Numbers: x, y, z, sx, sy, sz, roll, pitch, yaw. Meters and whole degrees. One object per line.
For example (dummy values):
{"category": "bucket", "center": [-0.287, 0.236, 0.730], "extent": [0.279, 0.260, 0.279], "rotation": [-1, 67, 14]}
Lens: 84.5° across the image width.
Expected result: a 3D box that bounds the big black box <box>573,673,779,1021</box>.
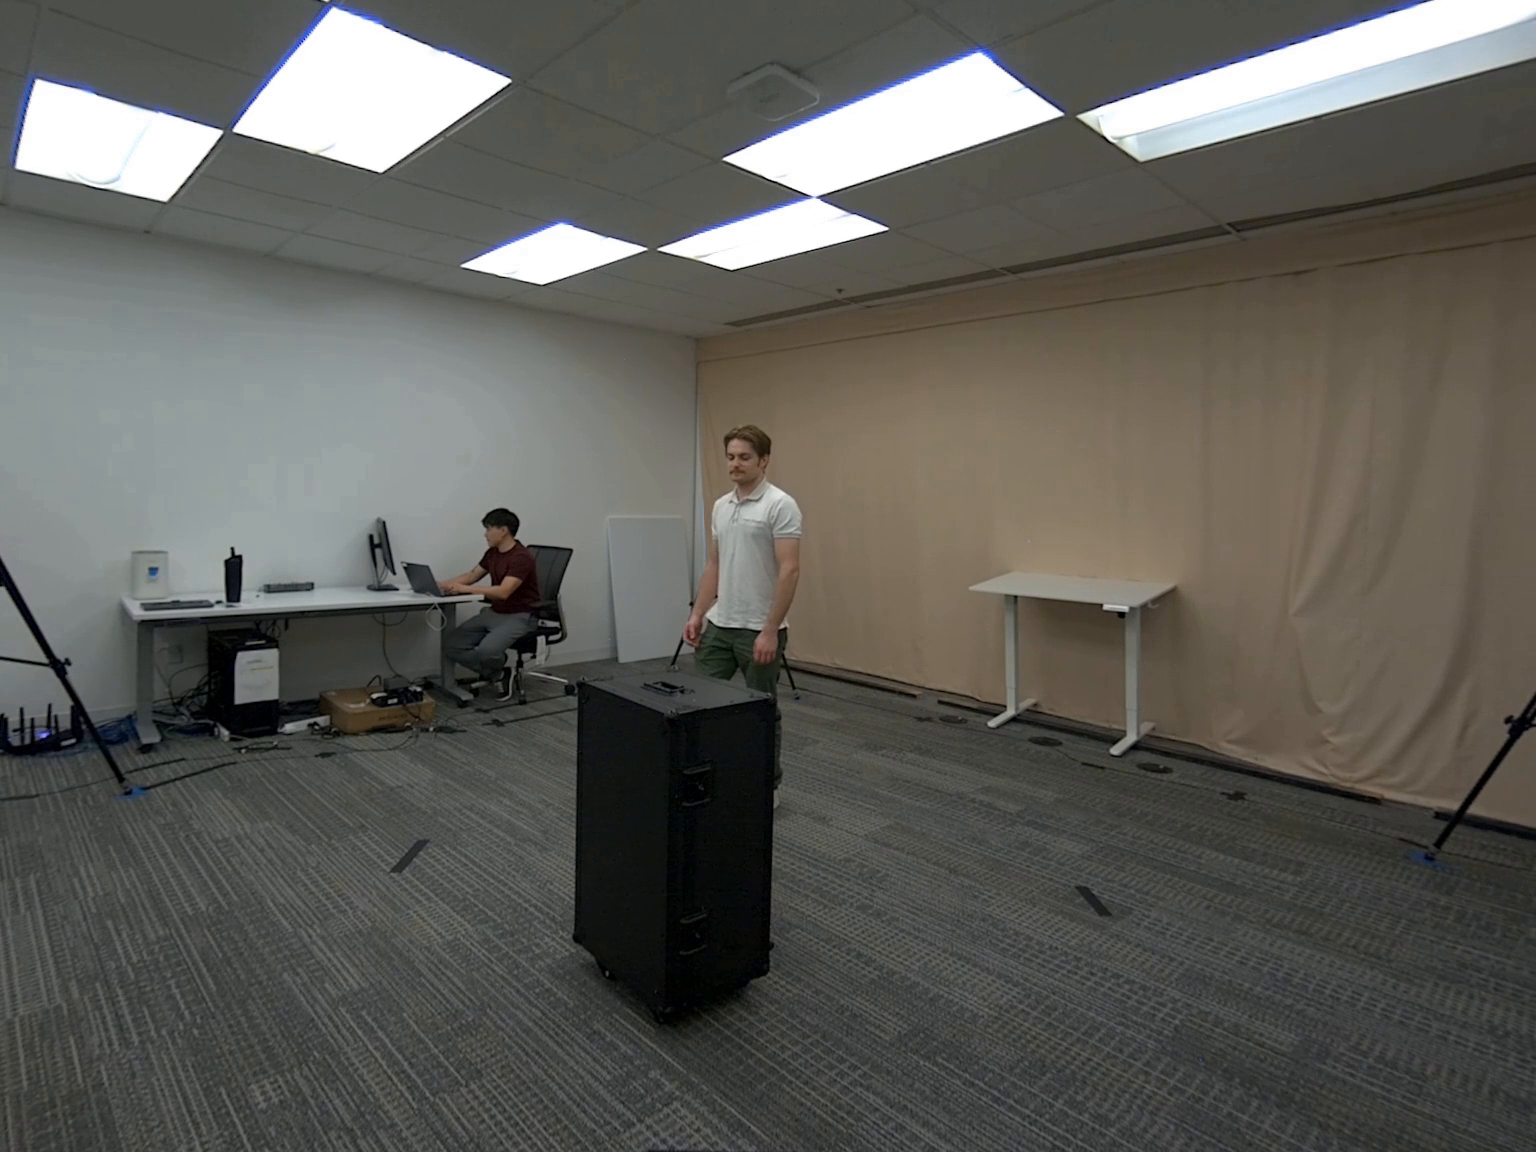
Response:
{"category": "big black box", "center": [-0.286, 0.746, 2.400], "extent": [0.376, 0.866, 0.537], "rotation": [-1, 4, -41]}
